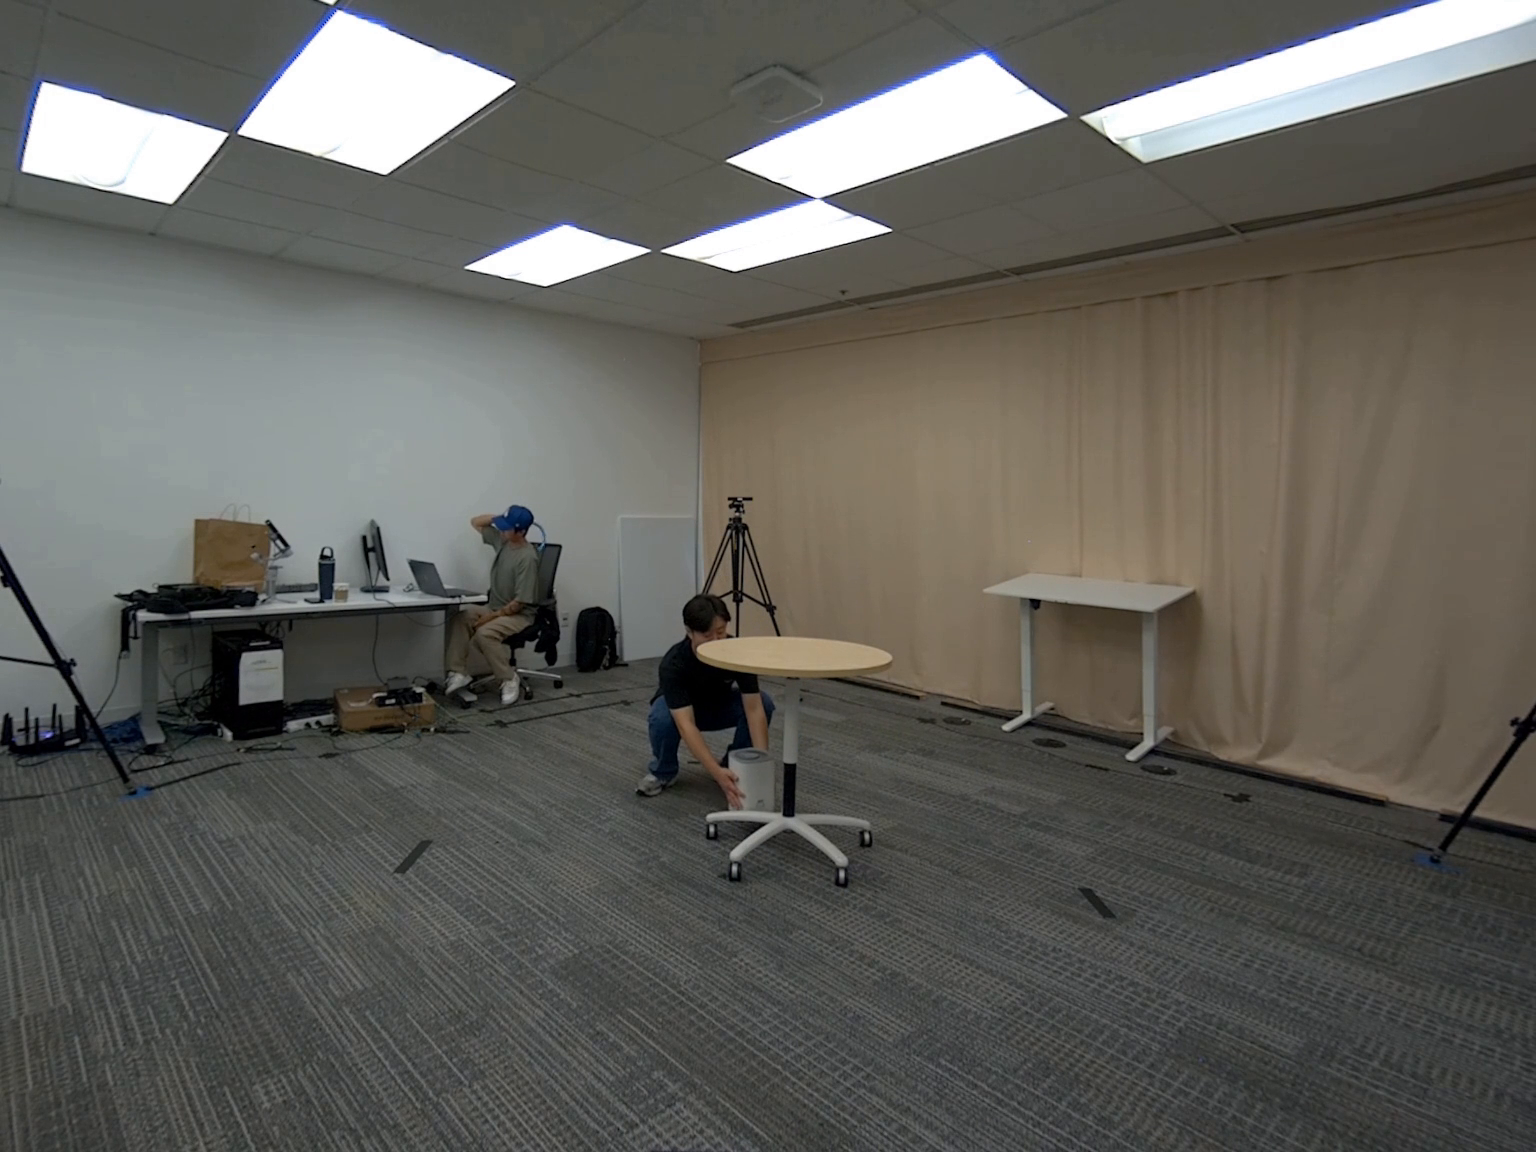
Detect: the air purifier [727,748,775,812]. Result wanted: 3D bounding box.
[{"bbox_3d":[-0.082,0.879,3.532,0.167,0.264,0.176,-2,6,-32],"label":"air purifier"}]
